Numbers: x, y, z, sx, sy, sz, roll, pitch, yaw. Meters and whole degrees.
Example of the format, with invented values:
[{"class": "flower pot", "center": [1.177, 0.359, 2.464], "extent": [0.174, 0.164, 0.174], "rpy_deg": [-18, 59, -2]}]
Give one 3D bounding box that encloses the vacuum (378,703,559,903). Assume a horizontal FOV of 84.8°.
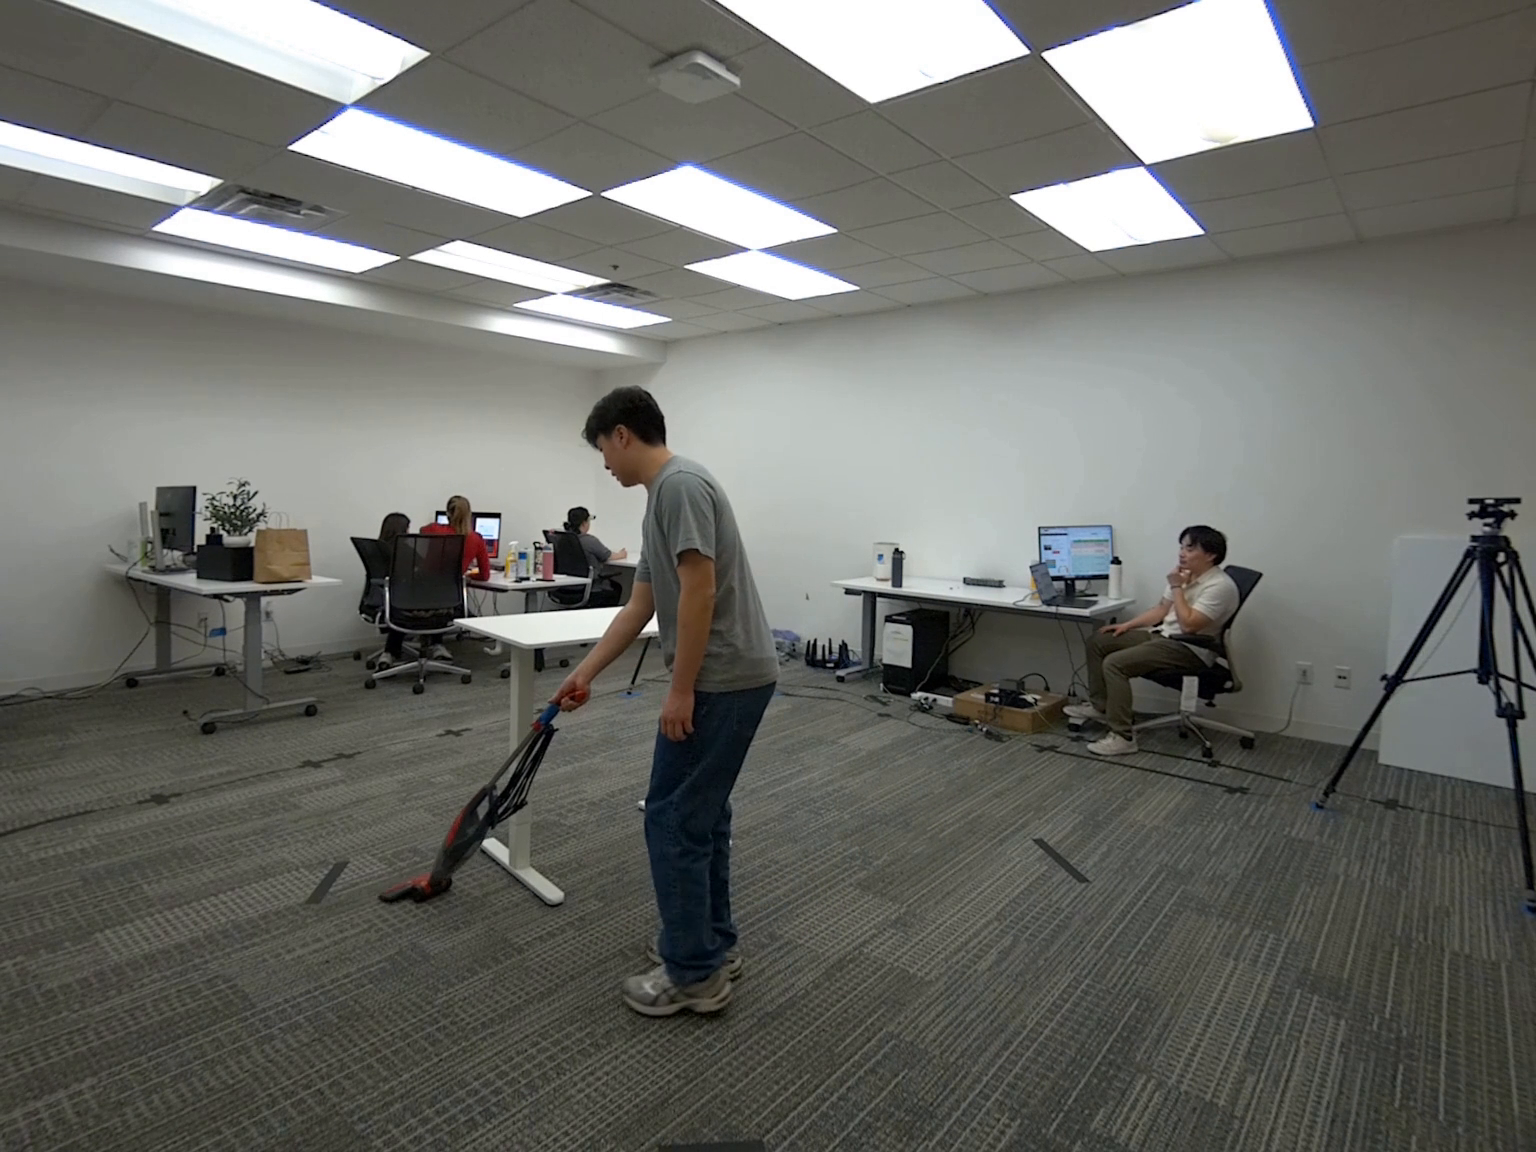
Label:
[{"class": "vacuum", "center": [-0.881, 0.711, 2.683], "extent": [1.049, 0.147, 0.247], "rpy_deg": [-47, -15, 23]}]
